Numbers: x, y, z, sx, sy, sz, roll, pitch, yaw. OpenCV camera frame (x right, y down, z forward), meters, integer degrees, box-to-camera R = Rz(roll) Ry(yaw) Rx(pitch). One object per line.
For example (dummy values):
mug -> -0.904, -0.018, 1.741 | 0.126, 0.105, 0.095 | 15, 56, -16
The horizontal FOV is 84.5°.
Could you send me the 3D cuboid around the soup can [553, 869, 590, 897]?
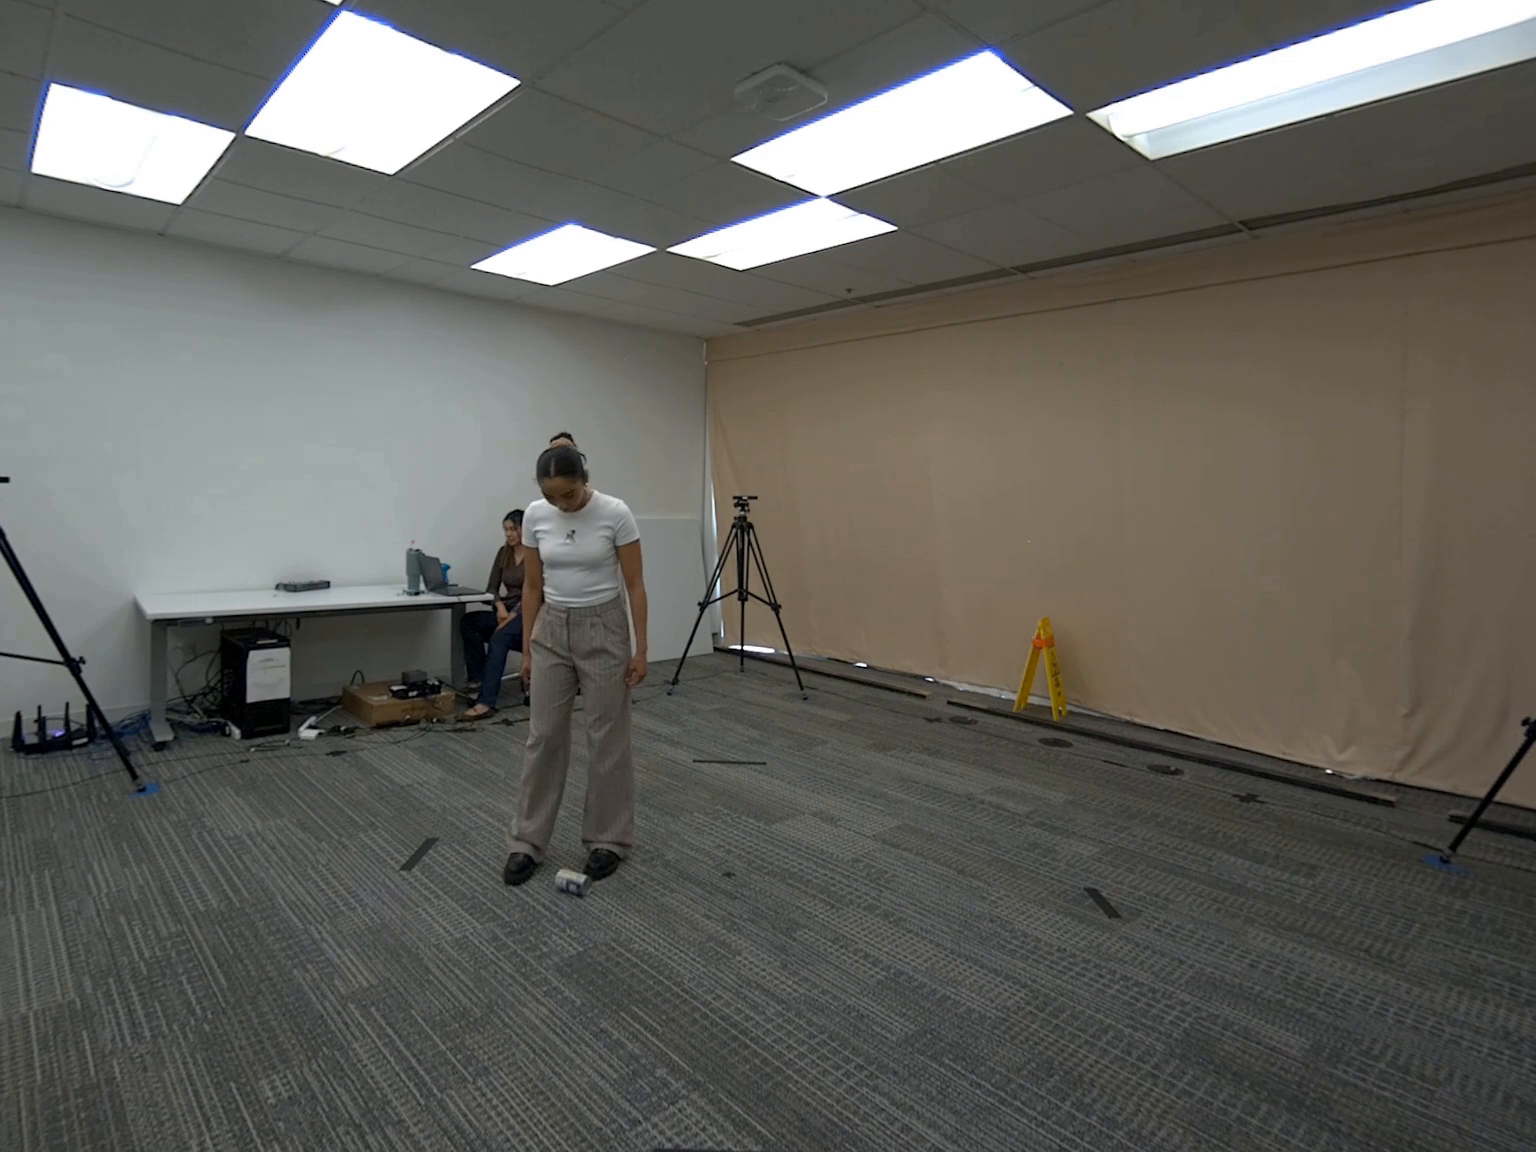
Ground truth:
soup can -> -0.697, 1.070, 2.940 | 0.124, 0.067, 0.066 | 6, 6, 27
